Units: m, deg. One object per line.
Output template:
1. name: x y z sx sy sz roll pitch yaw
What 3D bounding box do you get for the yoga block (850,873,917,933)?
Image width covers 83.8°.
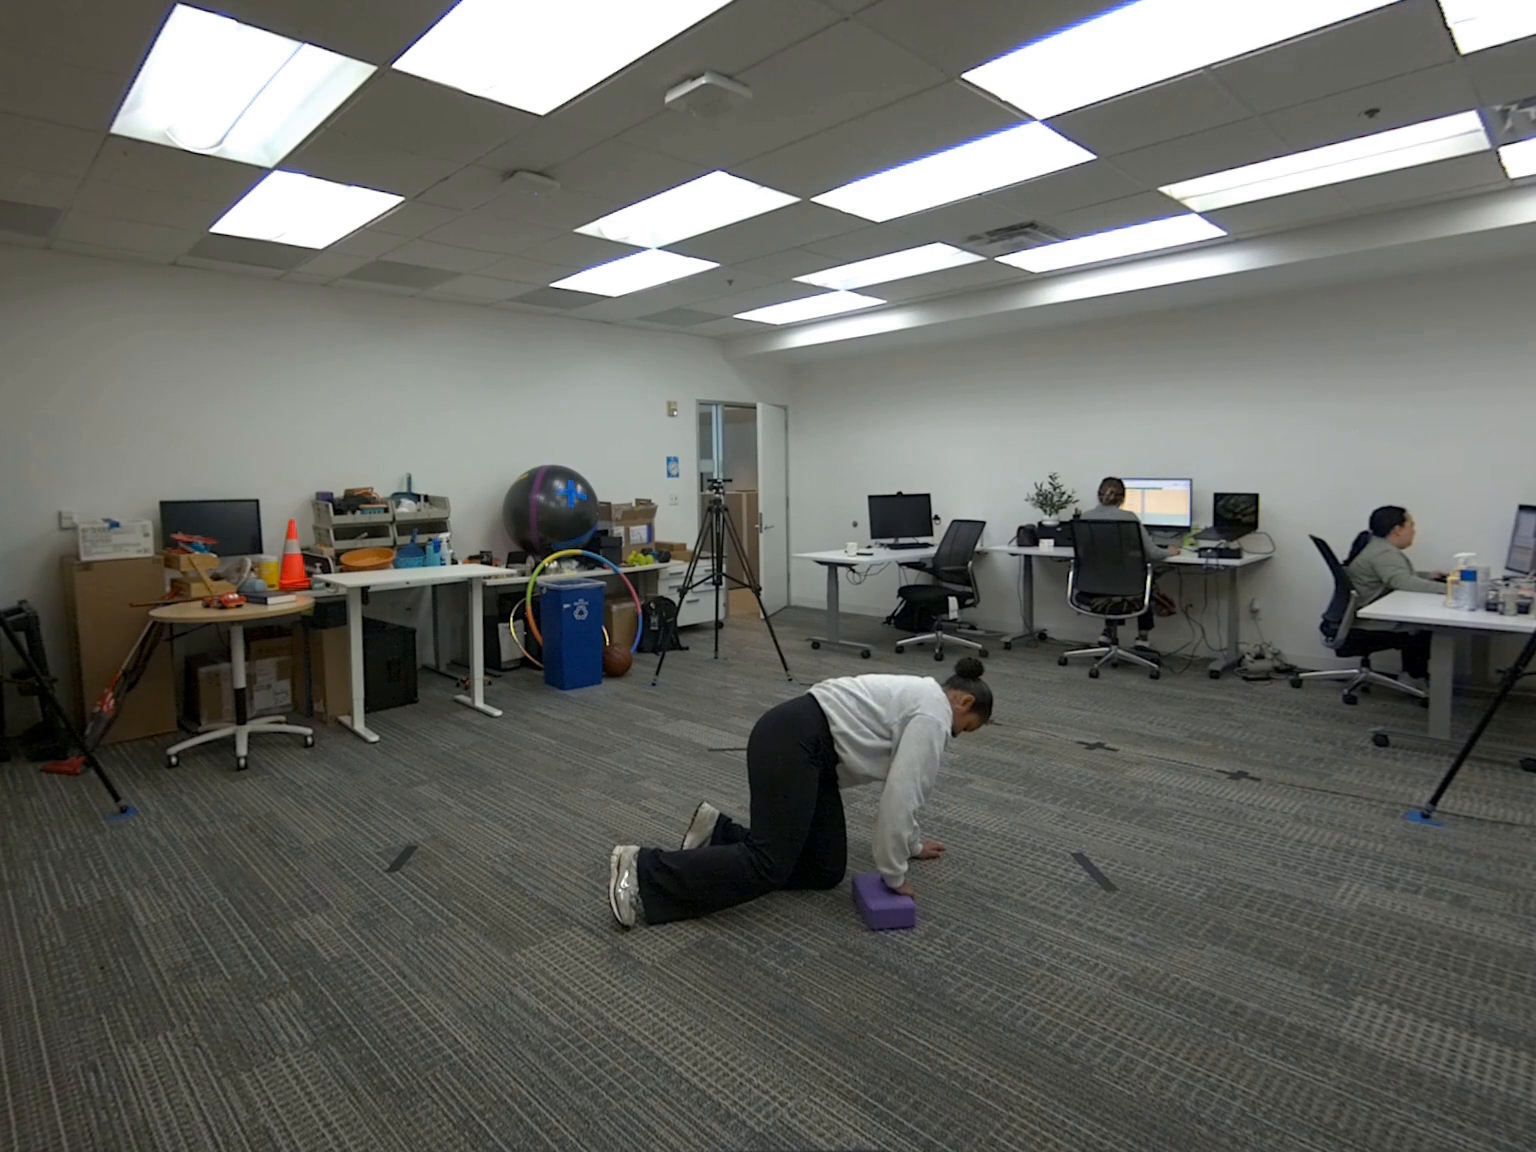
1. yoga block: 0.355 1.035 2.742 0.148 0.076 0.231 2 6 -5
